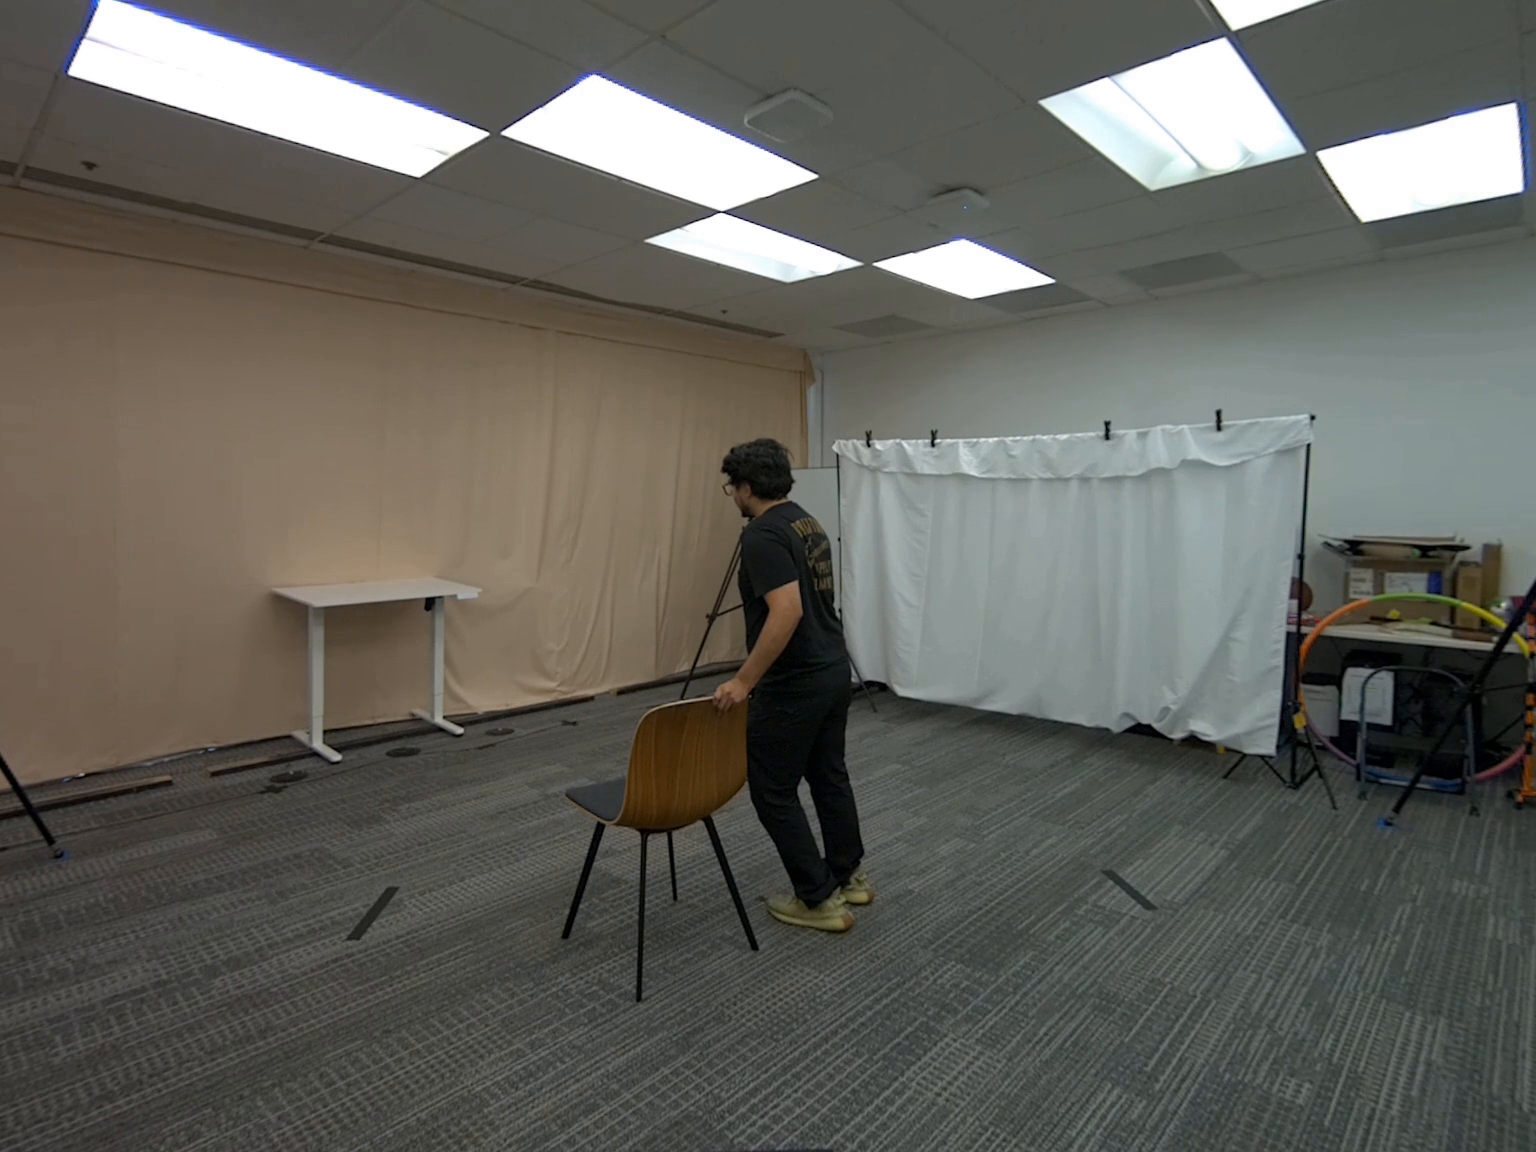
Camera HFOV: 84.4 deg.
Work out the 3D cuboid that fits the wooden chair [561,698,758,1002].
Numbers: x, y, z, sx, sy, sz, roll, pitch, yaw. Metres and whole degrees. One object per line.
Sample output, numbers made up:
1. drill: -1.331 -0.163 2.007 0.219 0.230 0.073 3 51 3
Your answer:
1. wooden chair: -0.356 0.748 2.652 0.463 0.874 0.541 -2 8 -40
